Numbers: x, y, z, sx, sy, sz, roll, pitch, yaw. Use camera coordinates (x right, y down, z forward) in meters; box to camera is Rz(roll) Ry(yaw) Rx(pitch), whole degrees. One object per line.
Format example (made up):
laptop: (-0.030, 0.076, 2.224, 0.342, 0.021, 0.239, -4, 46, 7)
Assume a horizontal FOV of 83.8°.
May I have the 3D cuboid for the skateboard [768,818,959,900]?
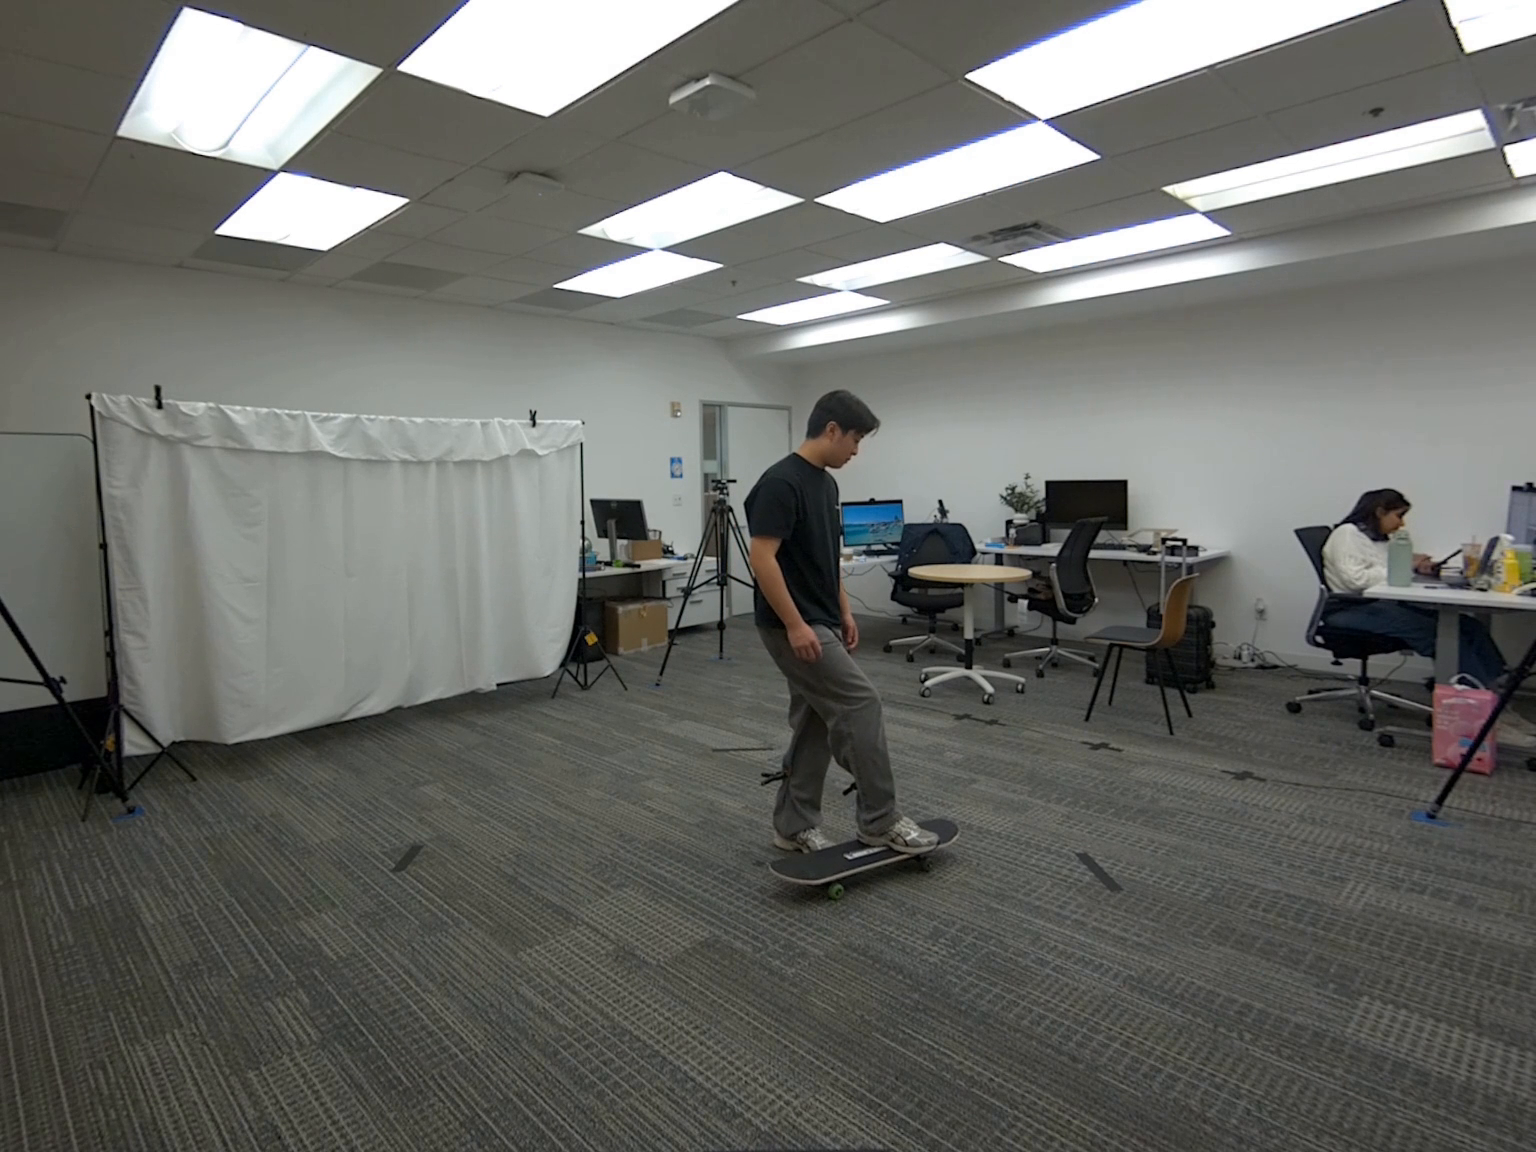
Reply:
skateboard: (0.352, 0.999, 2.989, 0.768, 0.110, 0.199, -4, 7, -27)
